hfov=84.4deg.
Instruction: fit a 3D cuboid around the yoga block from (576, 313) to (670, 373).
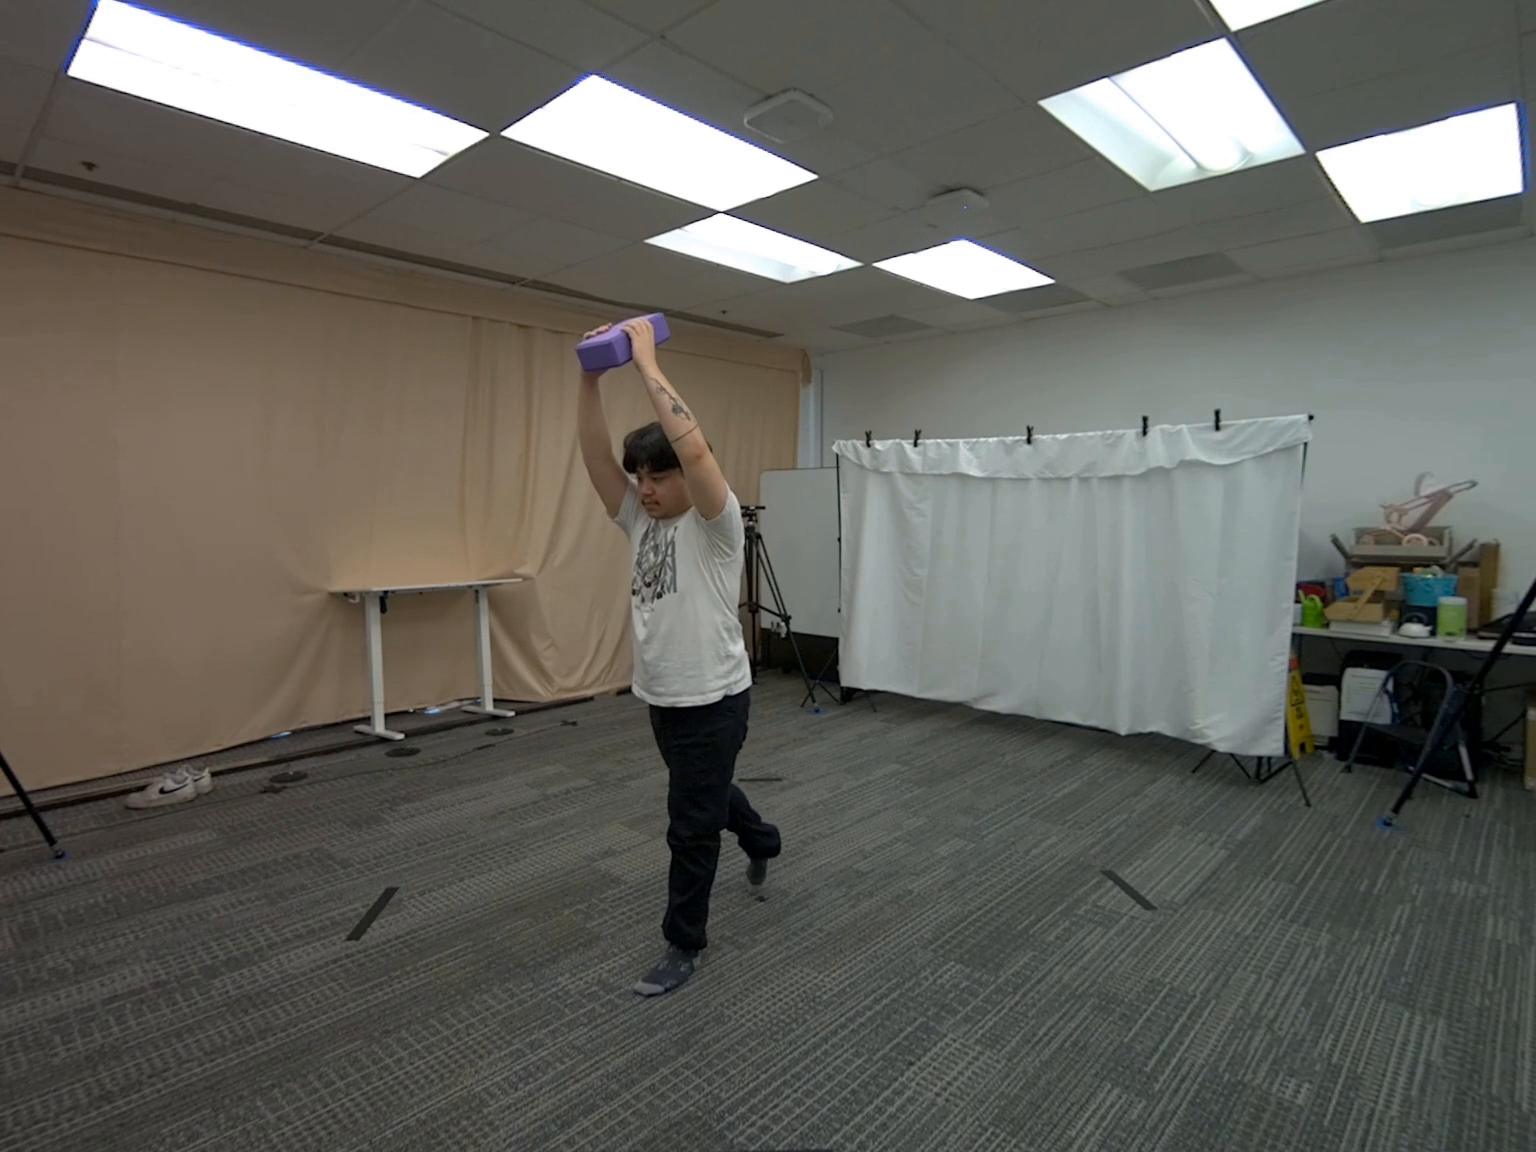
[{"bbox_3d":[-0.393,-0.635,2.296,0.154,0.075,0.227,3,33,38],"label":"yoga block"}]
